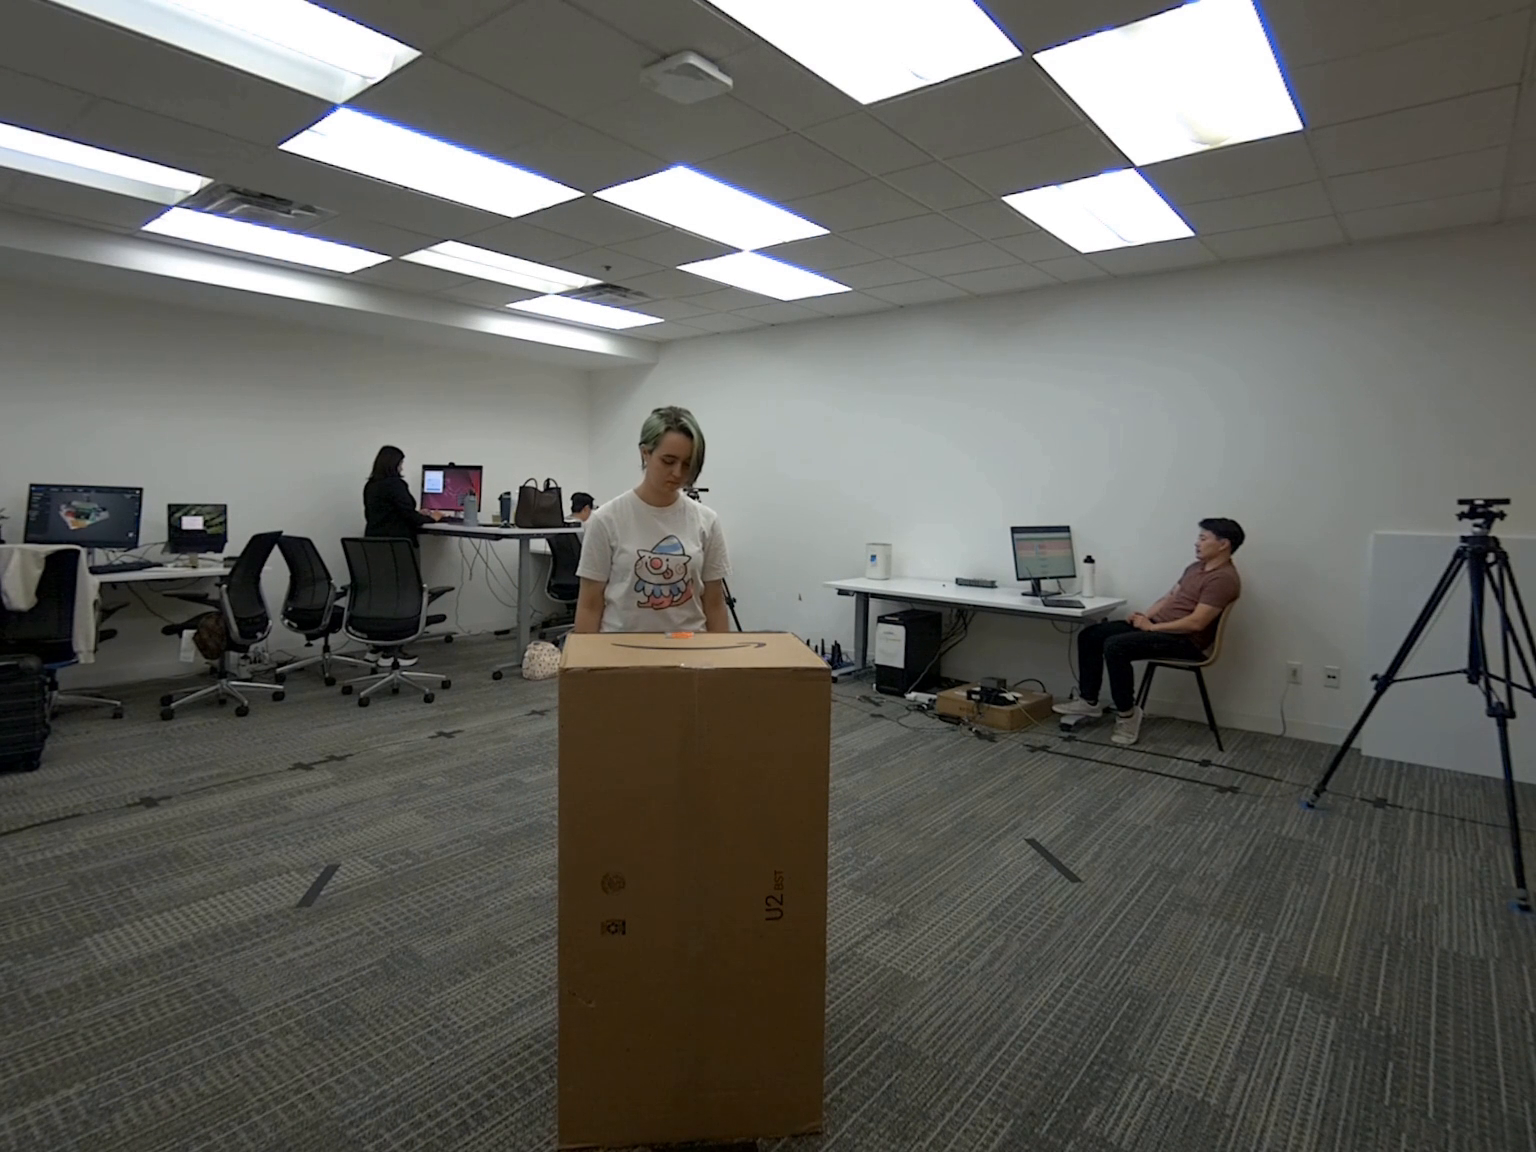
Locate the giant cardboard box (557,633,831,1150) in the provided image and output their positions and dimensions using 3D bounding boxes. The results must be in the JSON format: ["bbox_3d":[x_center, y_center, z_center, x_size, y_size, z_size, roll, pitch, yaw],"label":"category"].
[{"bbox_3d":[-0.197,0.674,1.993,0.579,1.023,0.452,0,4,-8],"label":"giant cardboard box"}]
